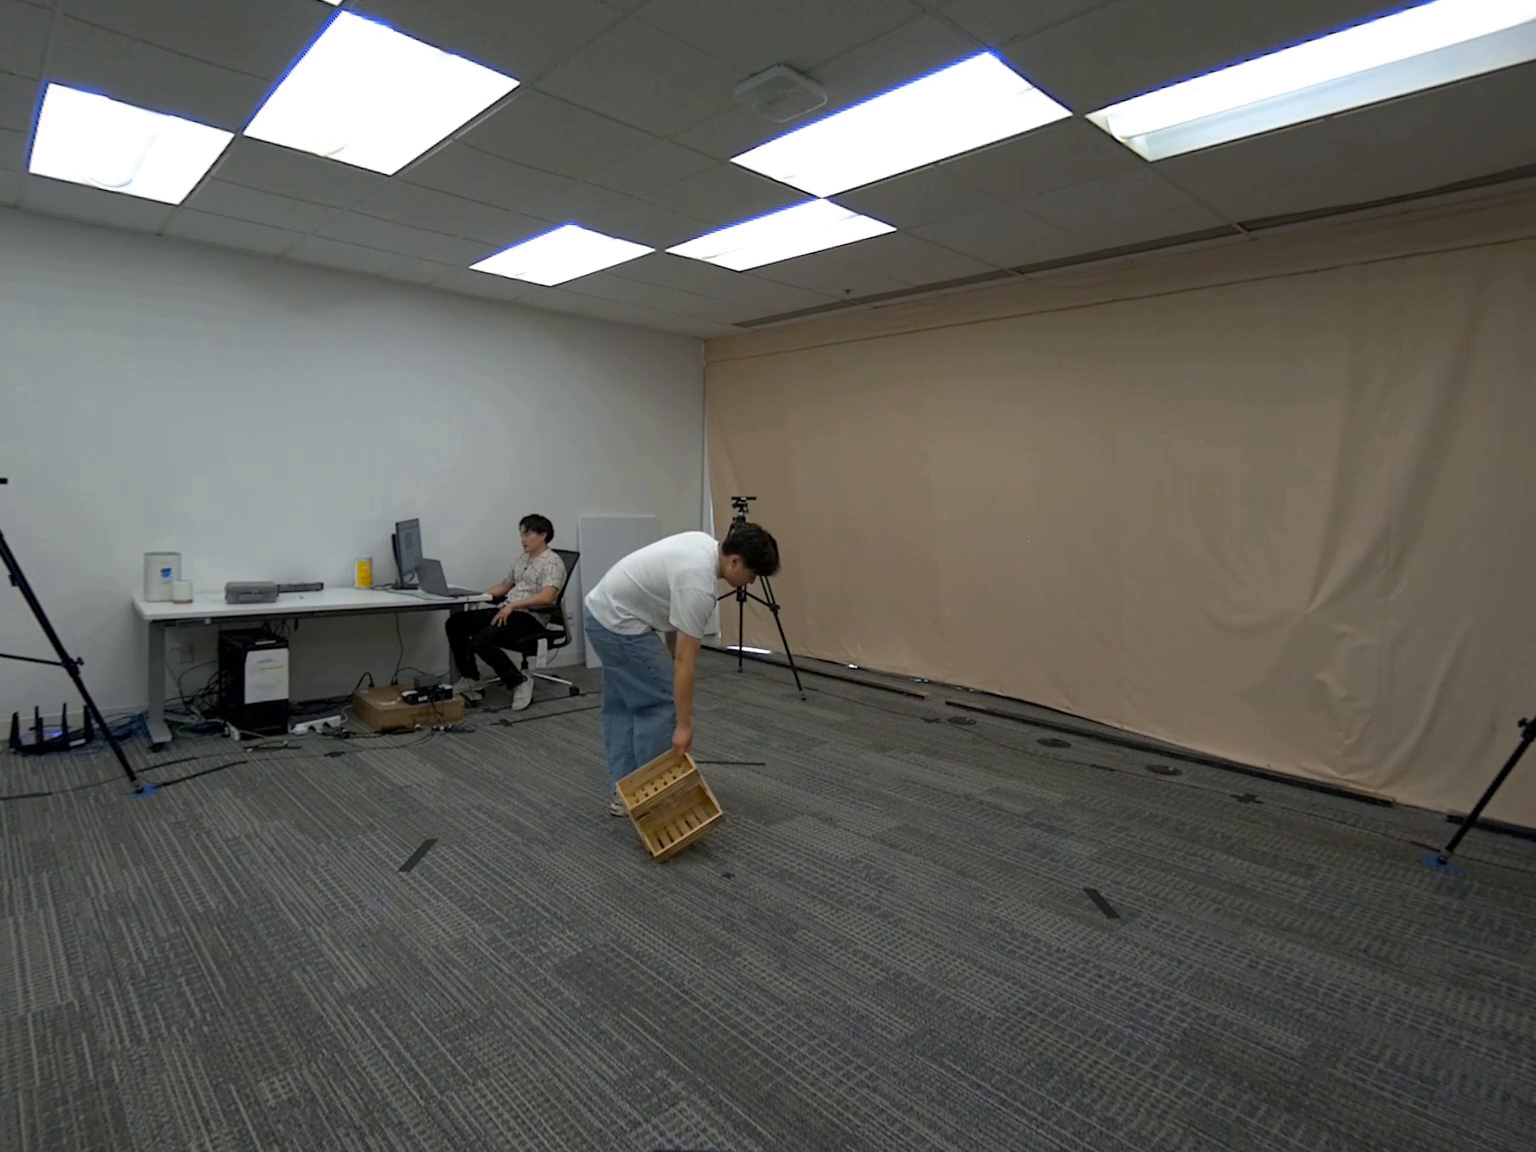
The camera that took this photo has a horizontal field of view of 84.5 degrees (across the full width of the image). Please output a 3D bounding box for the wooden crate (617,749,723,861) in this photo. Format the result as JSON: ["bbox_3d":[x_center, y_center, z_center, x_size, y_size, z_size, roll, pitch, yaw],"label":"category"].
[{"bbox_3d":[-0.395,0.888,3.319,0.323,0.270,0.307,-30,13,-14],"label":"wooden crate"}]
